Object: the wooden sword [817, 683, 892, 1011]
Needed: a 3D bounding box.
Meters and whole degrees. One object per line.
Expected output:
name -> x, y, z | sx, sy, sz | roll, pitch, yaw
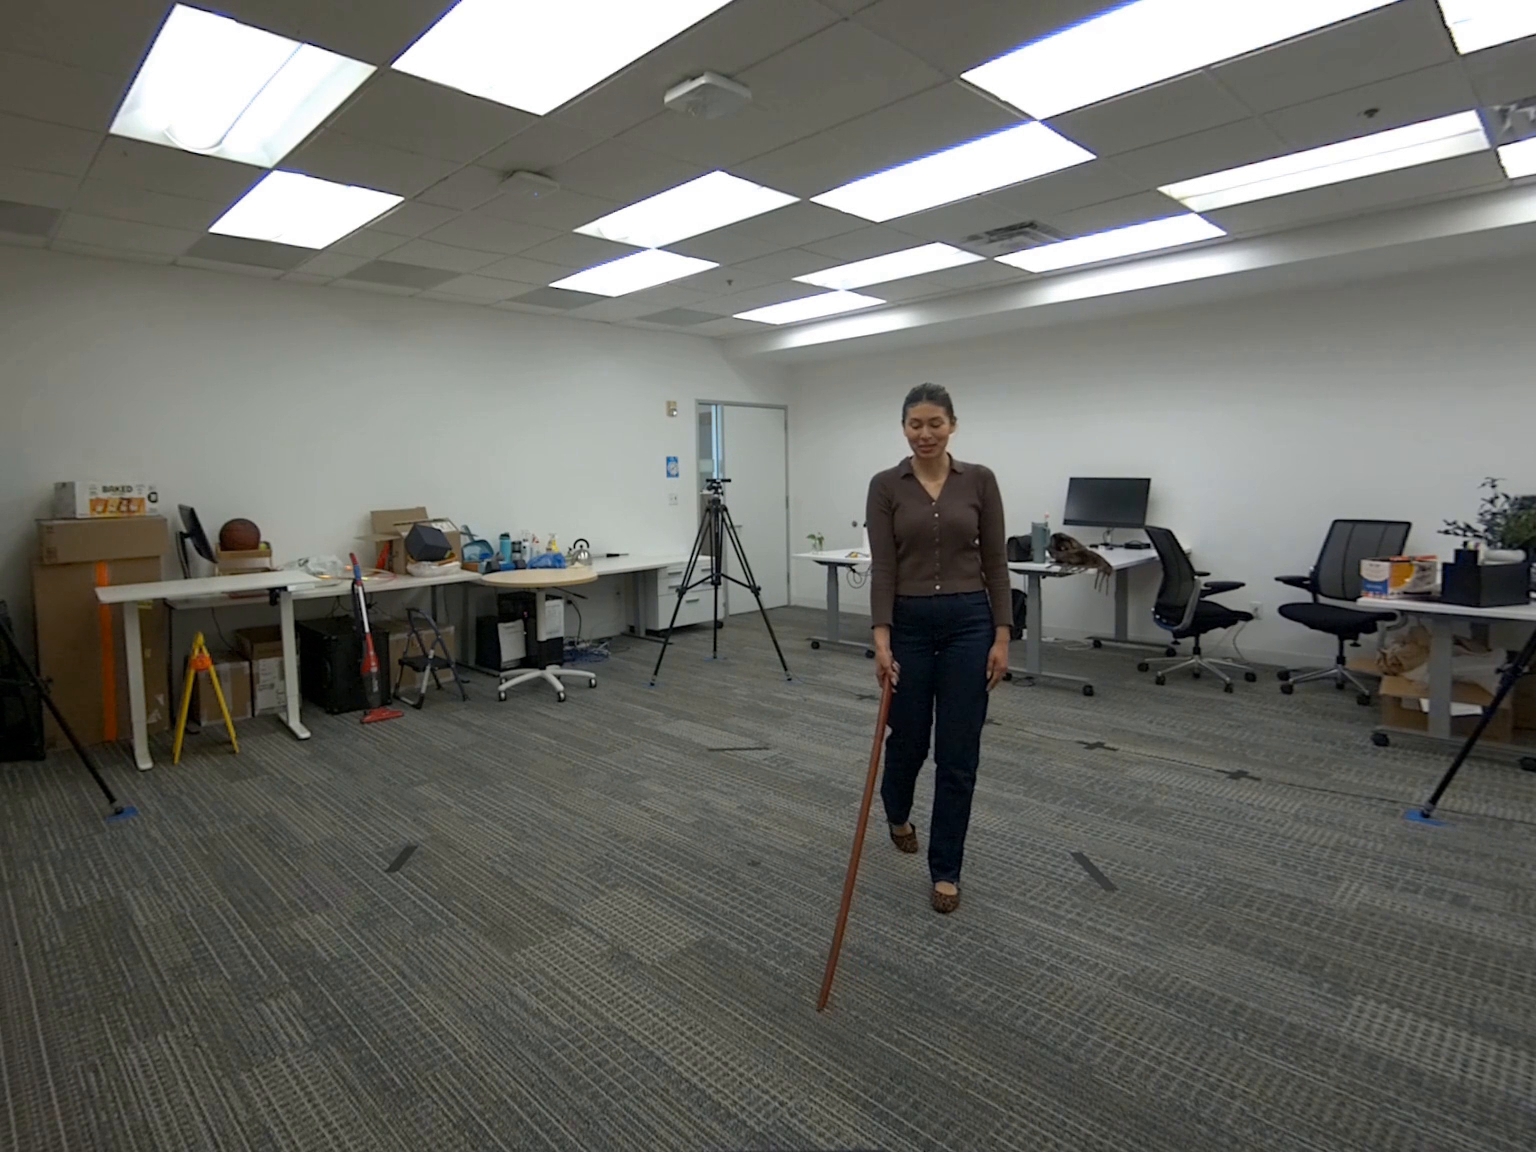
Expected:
wooden sword -> 0.283, 0.713, 2.504 | 0.052, 1.040, 0.023 | 0, -33, 26
